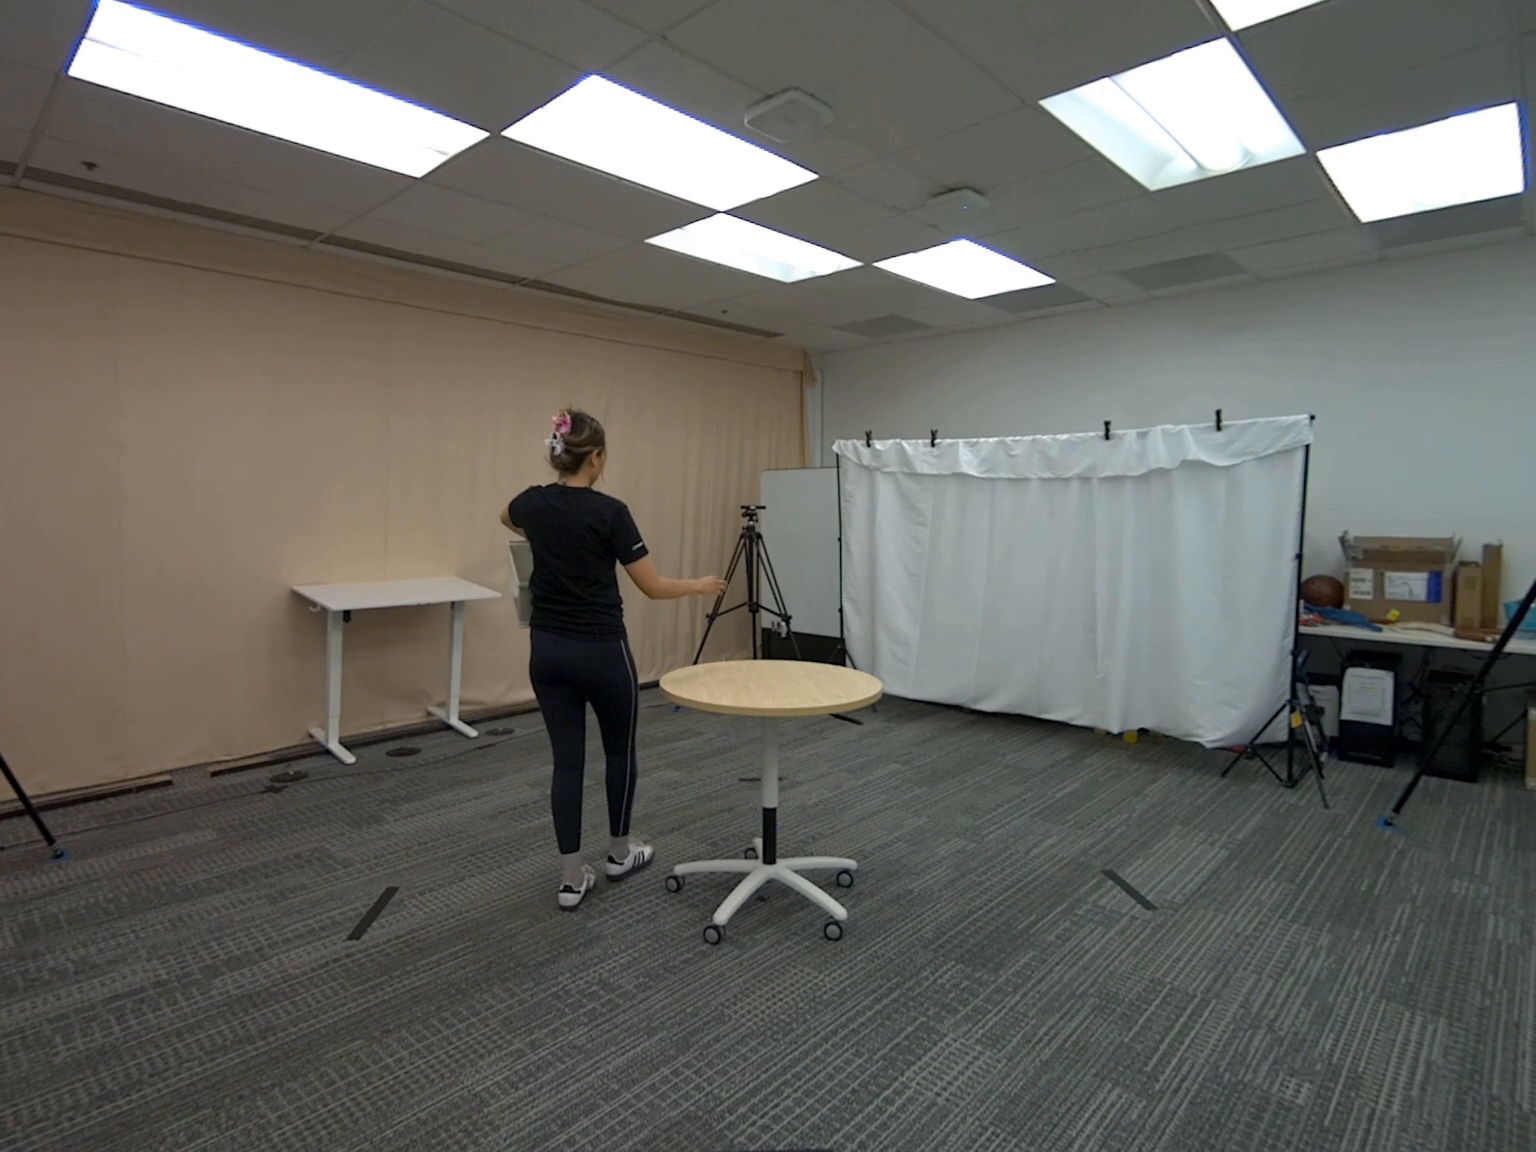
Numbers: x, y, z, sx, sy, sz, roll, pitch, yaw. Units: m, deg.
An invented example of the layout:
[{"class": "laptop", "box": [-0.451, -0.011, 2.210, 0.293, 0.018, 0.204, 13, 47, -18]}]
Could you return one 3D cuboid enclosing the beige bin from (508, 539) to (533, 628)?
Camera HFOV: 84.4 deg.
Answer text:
[{"class": "beige bin", "box": [-0.799, 0.021, 3.269, 0.370, 0.187, 0.435, -3, 25, -20]}]
